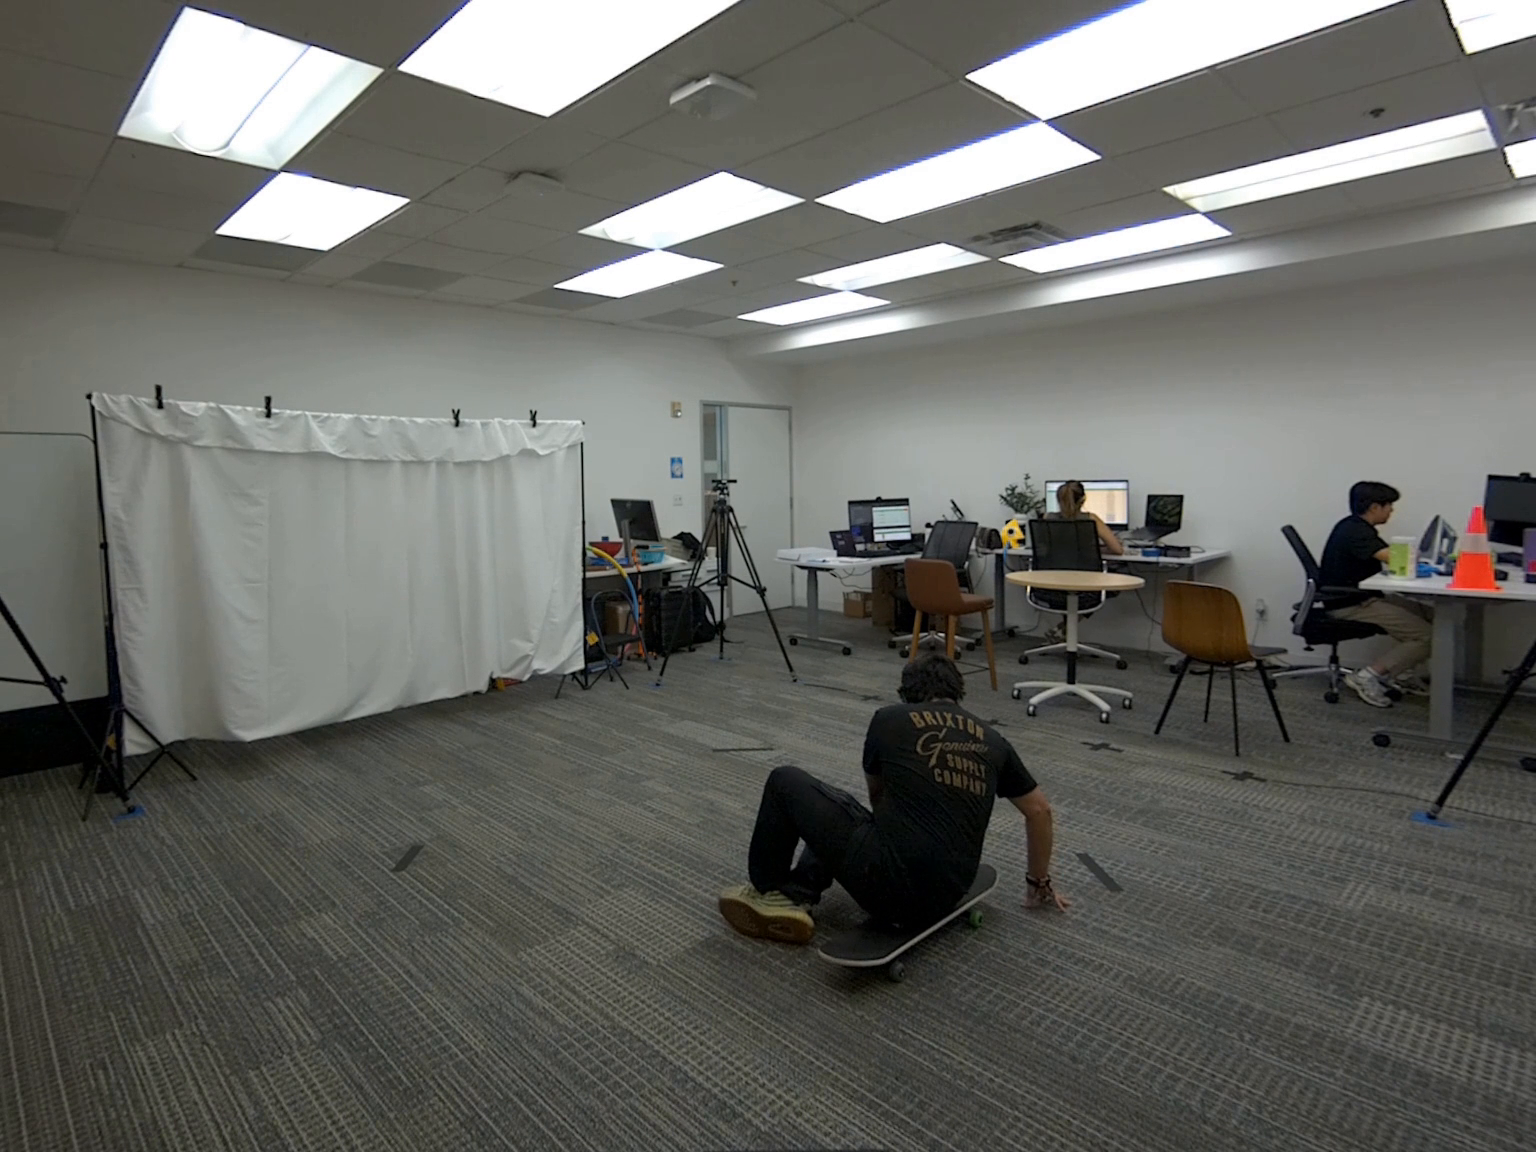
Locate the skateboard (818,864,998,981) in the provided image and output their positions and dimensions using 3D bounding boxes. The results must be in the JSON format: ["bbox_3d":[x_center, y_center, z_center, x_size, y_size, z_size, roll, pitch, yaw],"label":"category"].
[{"bbox_3d":[0.445,1.043,2.568,0.765,0.110,0.198,-8,2,-43],"label":"skateboard"}]
